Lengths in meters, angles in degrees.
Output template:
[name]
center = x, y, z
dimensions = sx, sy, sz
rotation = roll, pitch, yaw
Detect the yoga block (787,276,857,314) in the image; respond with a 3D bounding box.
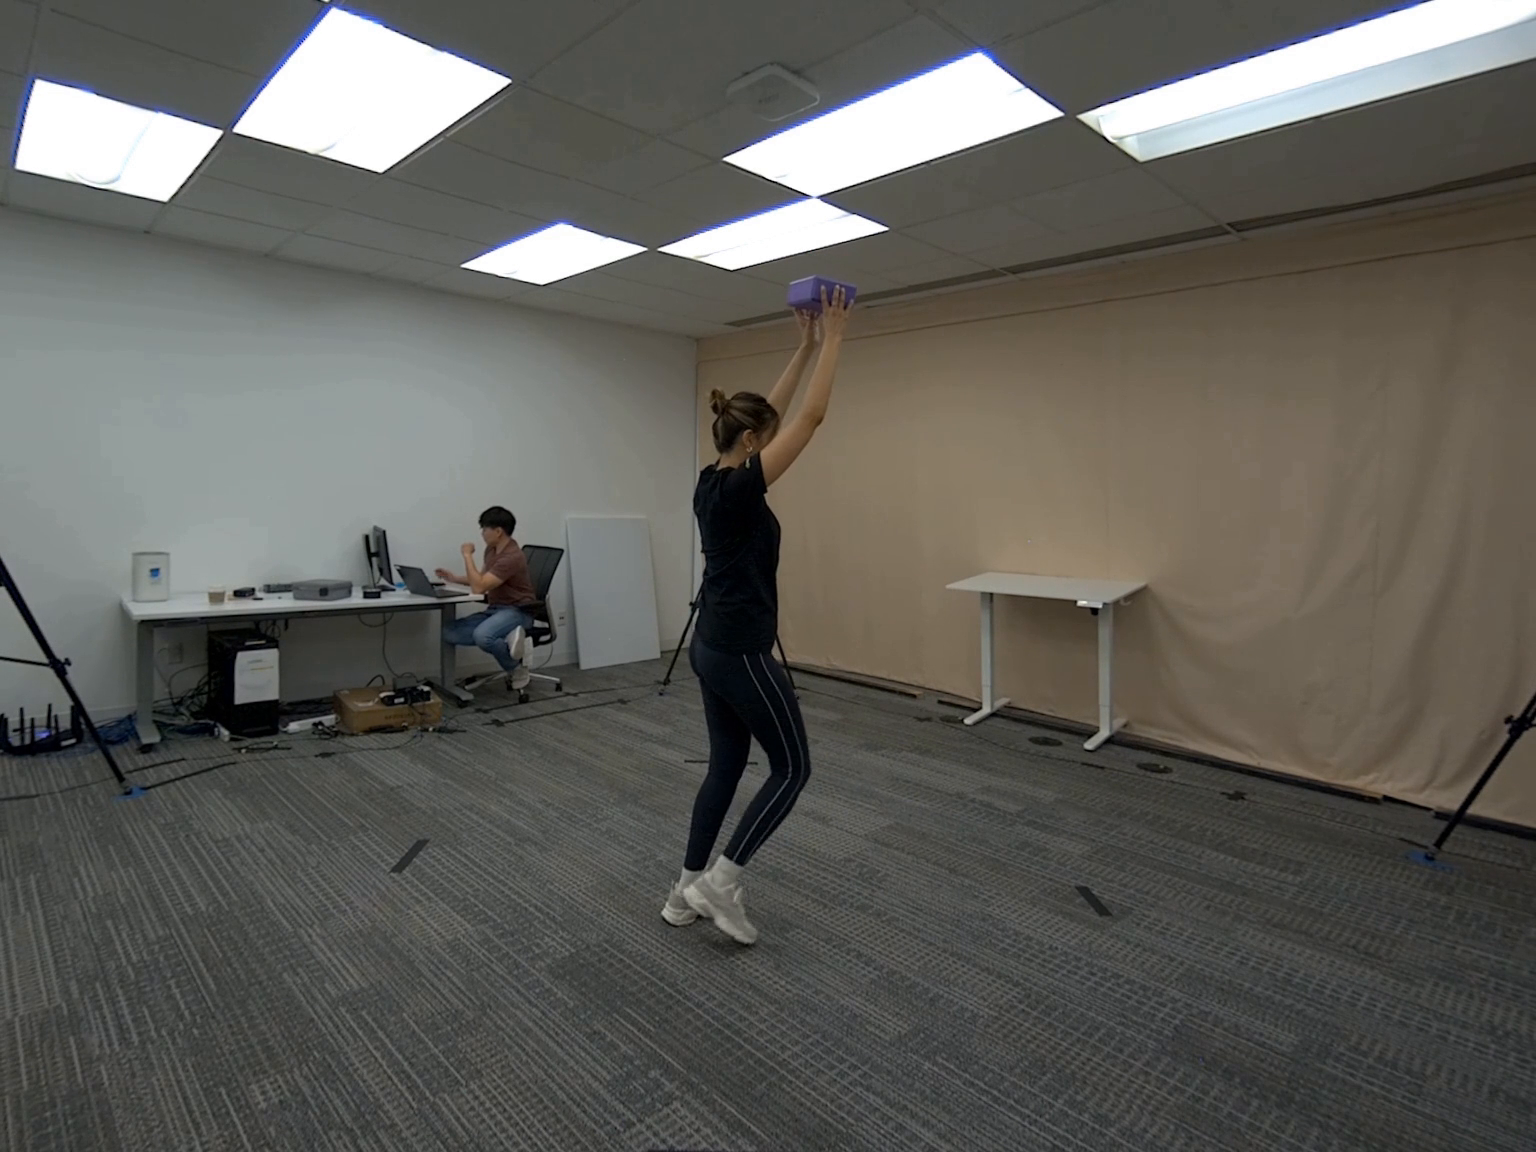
[yoga block]
center = 0.164, -0.891, 2.665
dimensions = 0.147, 0.076, 0.234
rotation = 8, 11, -16
